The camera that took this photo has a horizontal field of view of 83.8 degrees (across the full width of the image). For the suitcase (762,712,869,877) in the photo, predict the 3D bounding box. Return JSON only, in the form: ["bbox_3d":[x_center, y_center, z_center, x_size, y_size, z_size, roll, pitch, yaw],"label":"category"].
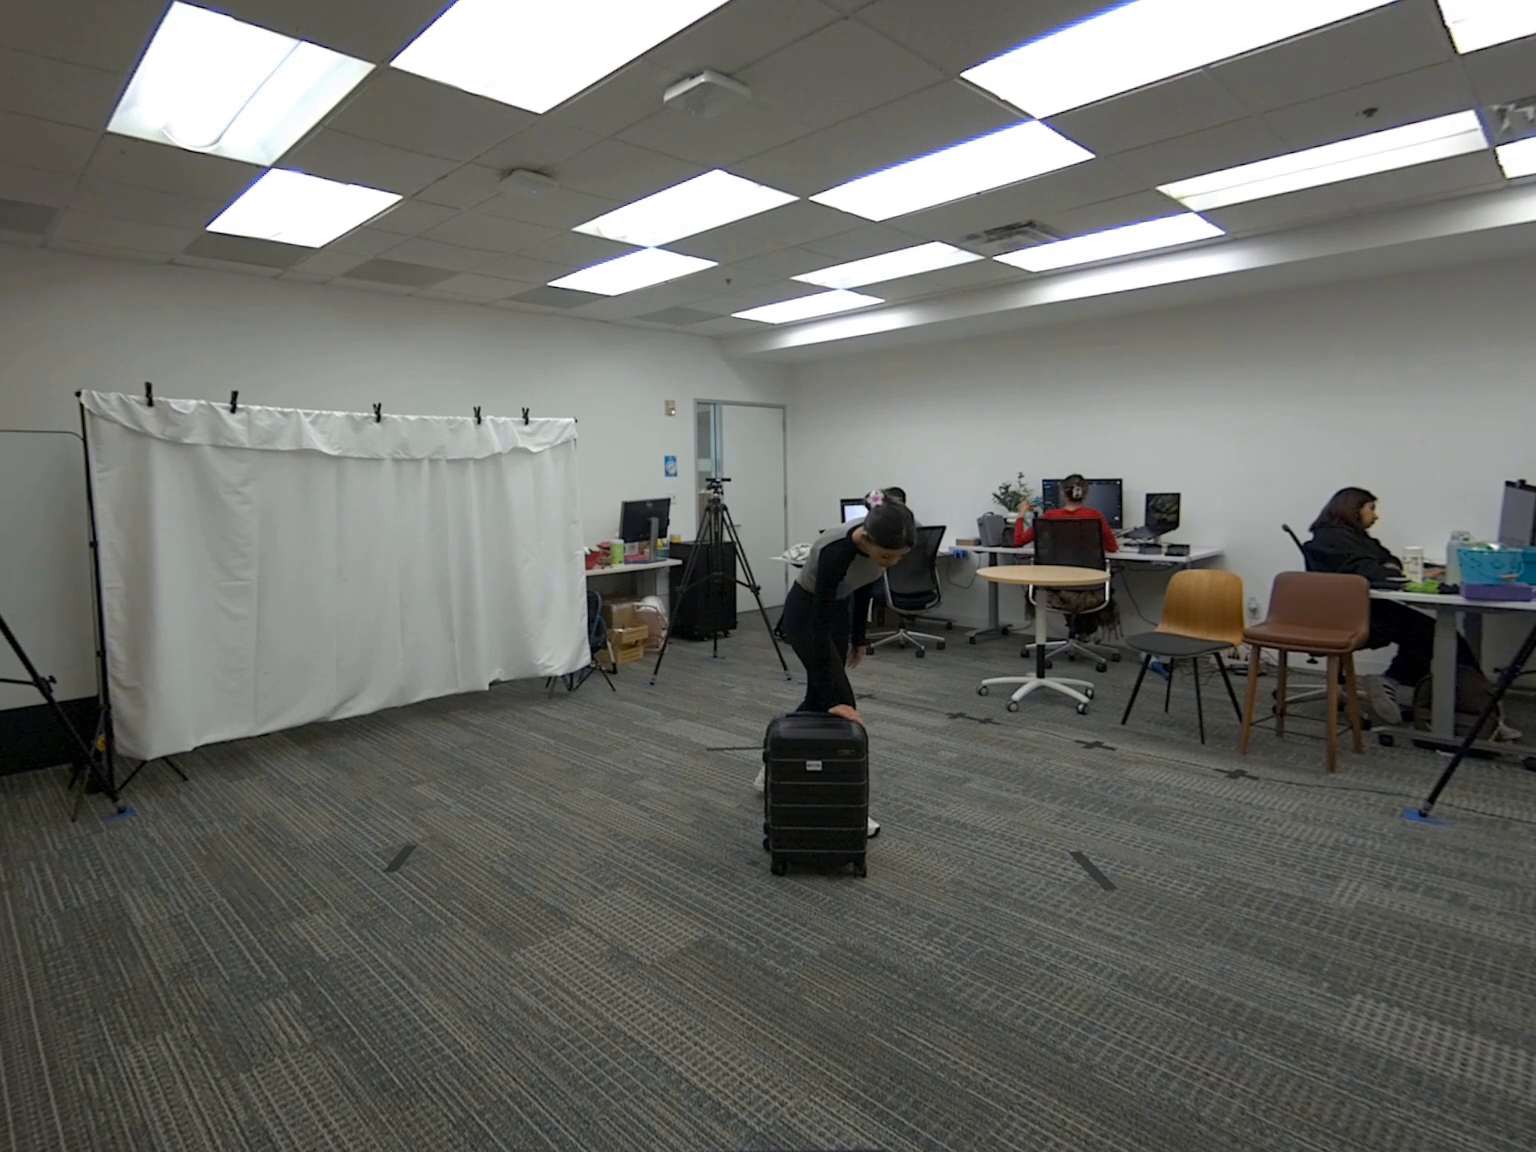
[{"bbox_3d":[0.177,0.768,3.070,0.376,0.546,0.249,1,6,2],"label":"suitcase"}]
